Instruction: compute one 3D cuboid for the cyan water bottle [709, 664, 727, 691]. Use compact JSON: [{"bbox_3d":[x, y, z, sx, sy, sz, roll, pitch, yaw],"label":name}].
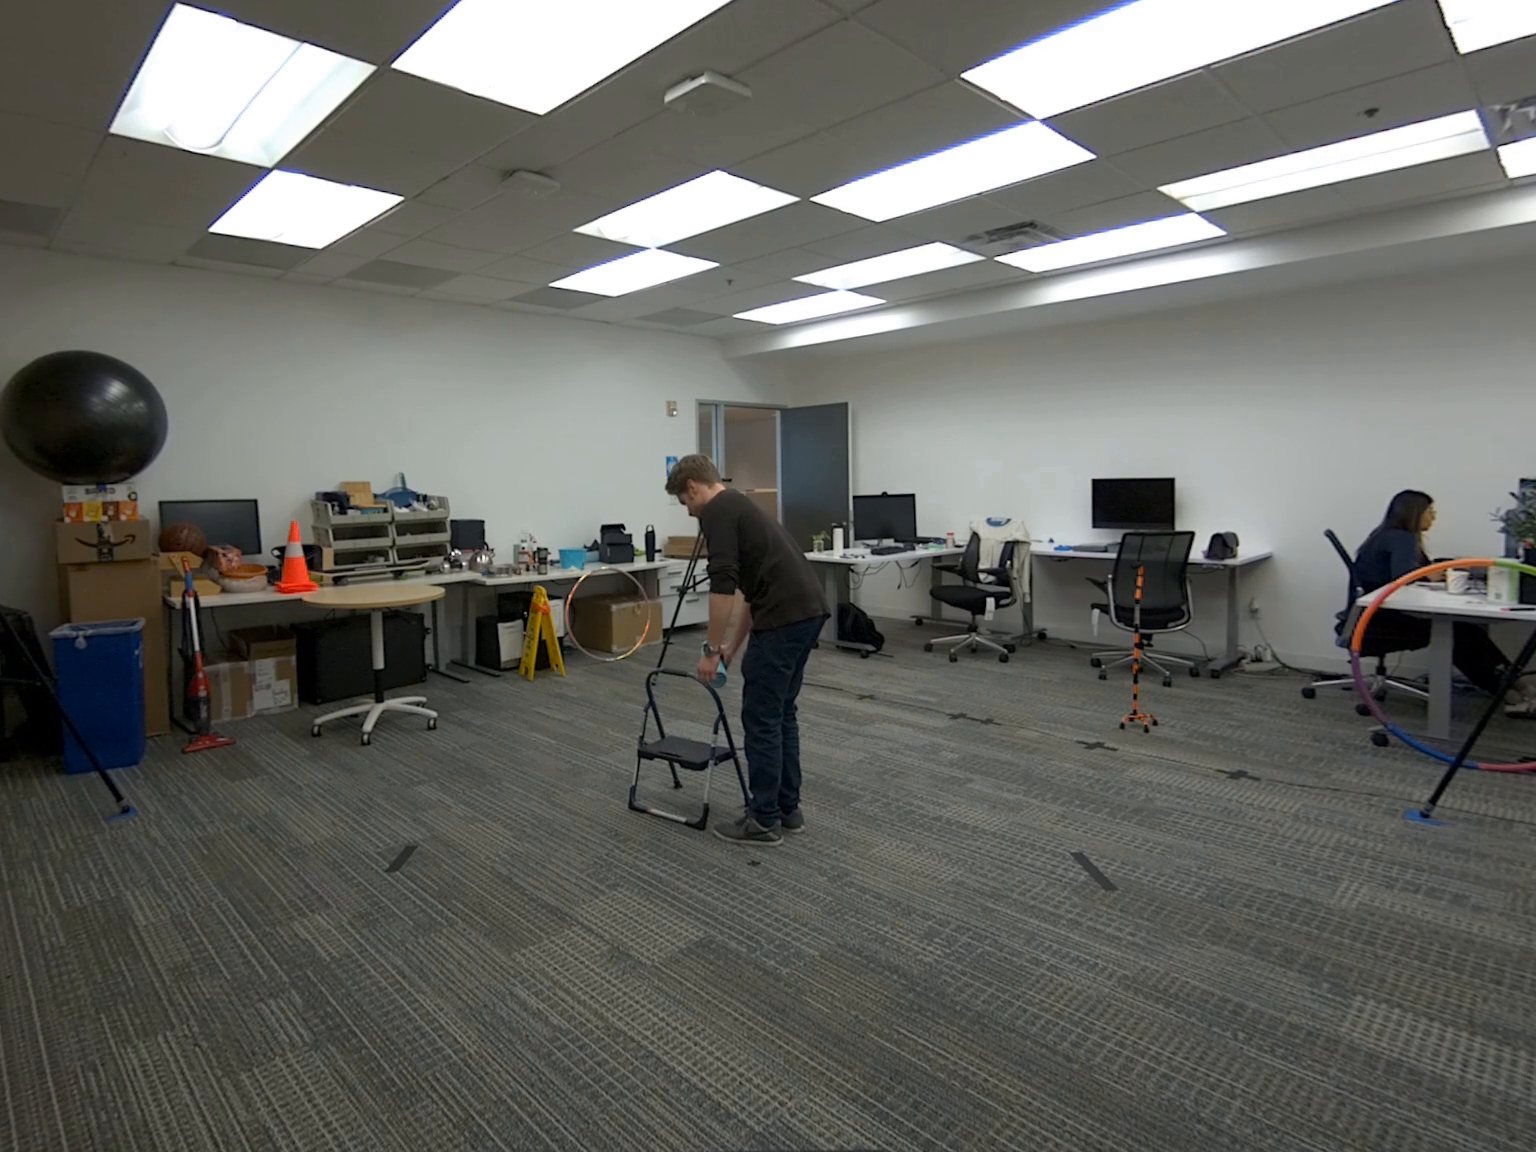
[{"bbox_3d":[-0.244,0.377,3.769,0.092,0.090,0.291,-2,28,-8],"label":"cyan water bottle"}]
